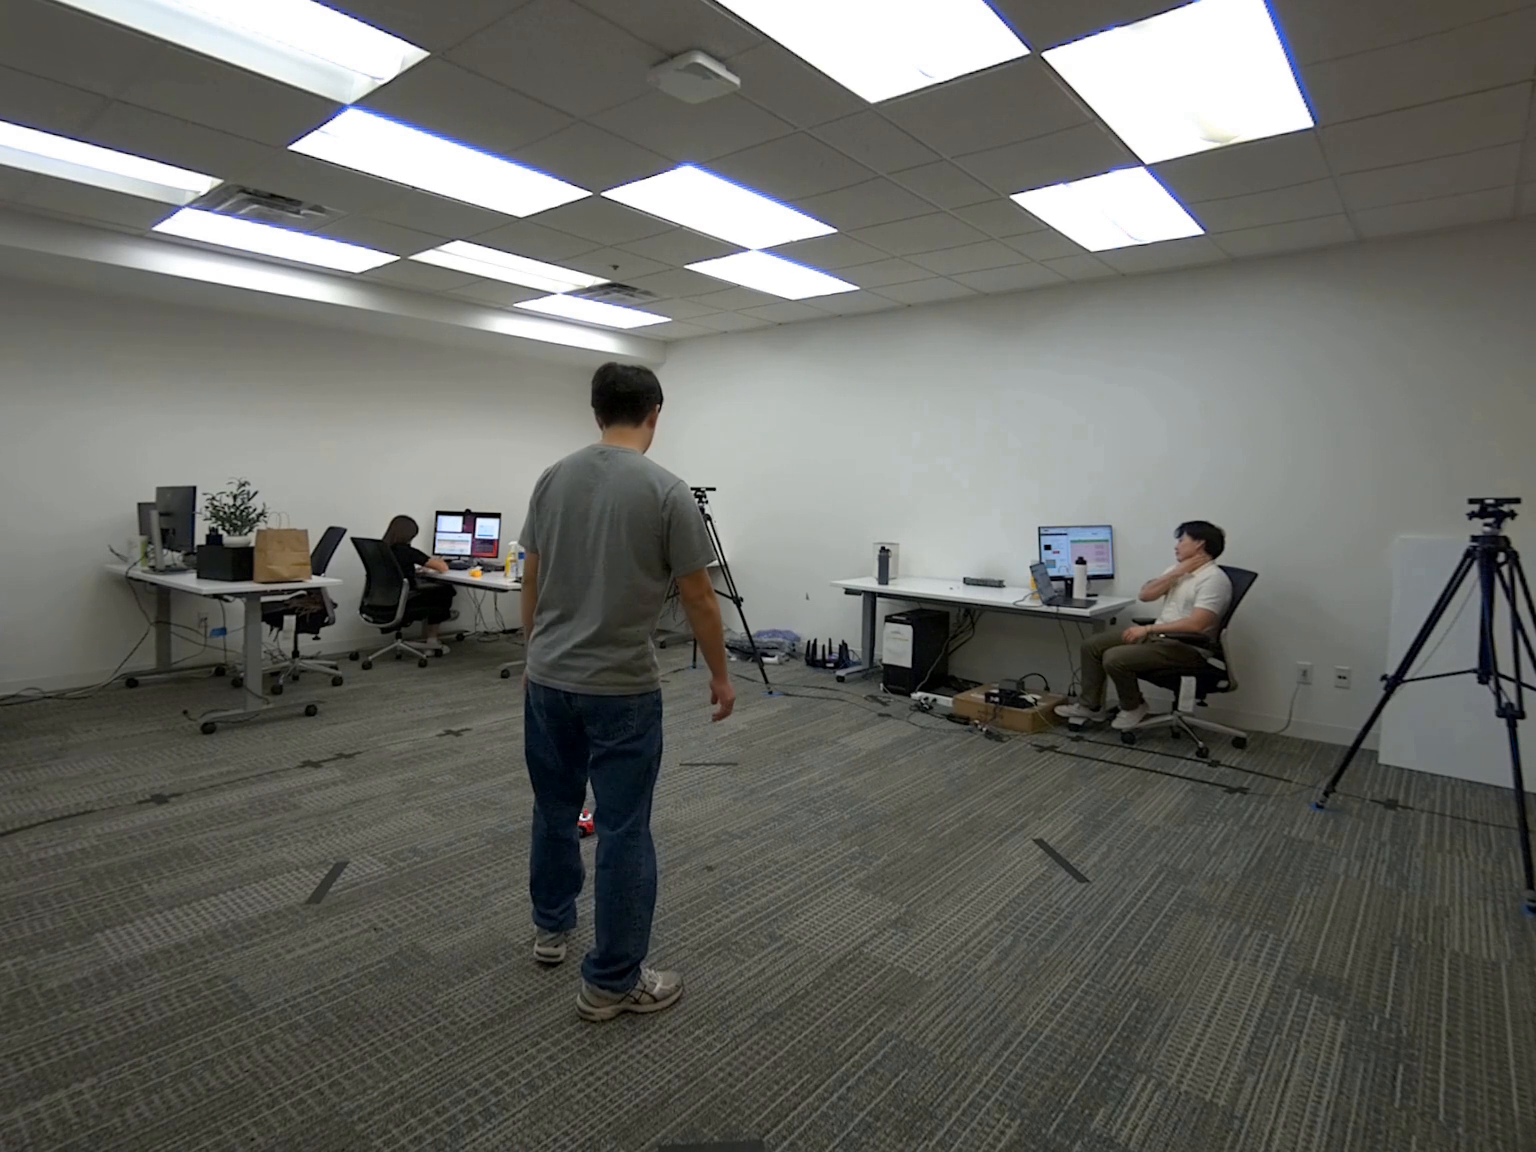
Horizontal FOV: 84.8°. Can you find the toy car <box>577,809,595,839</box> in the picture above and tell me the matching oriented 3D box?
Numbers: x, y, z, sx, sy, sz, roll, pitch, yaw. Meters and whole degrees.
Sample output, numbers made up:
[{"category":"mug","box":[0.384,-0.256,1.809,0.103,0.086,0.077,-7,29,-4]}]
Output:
[{"category":"toy car","box":[-0.806,0.993,3.407,0.255,0.083,0.130,-10,3,0]}]
